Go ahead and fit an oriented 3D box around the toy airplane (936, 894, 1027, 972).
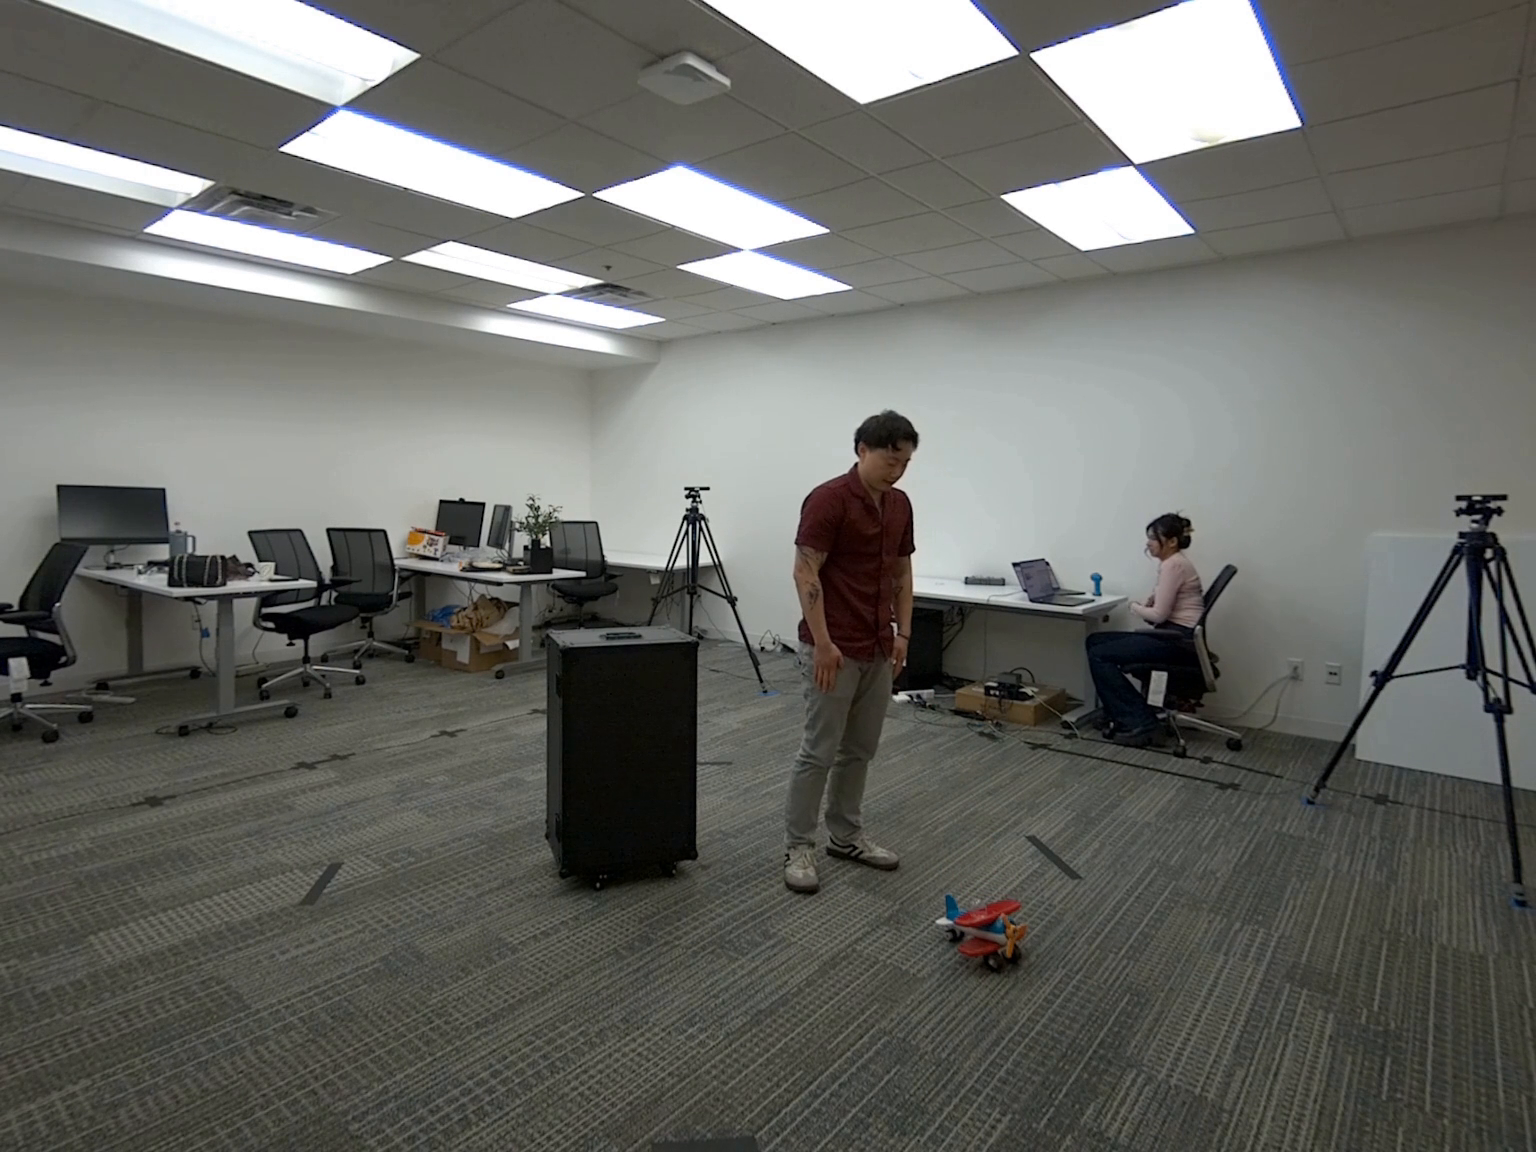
[{"bbox_3d":[0.624,1.065,2.557,0.266,0.156,0.245,5,6,26],"label":"toy airplane"}]
